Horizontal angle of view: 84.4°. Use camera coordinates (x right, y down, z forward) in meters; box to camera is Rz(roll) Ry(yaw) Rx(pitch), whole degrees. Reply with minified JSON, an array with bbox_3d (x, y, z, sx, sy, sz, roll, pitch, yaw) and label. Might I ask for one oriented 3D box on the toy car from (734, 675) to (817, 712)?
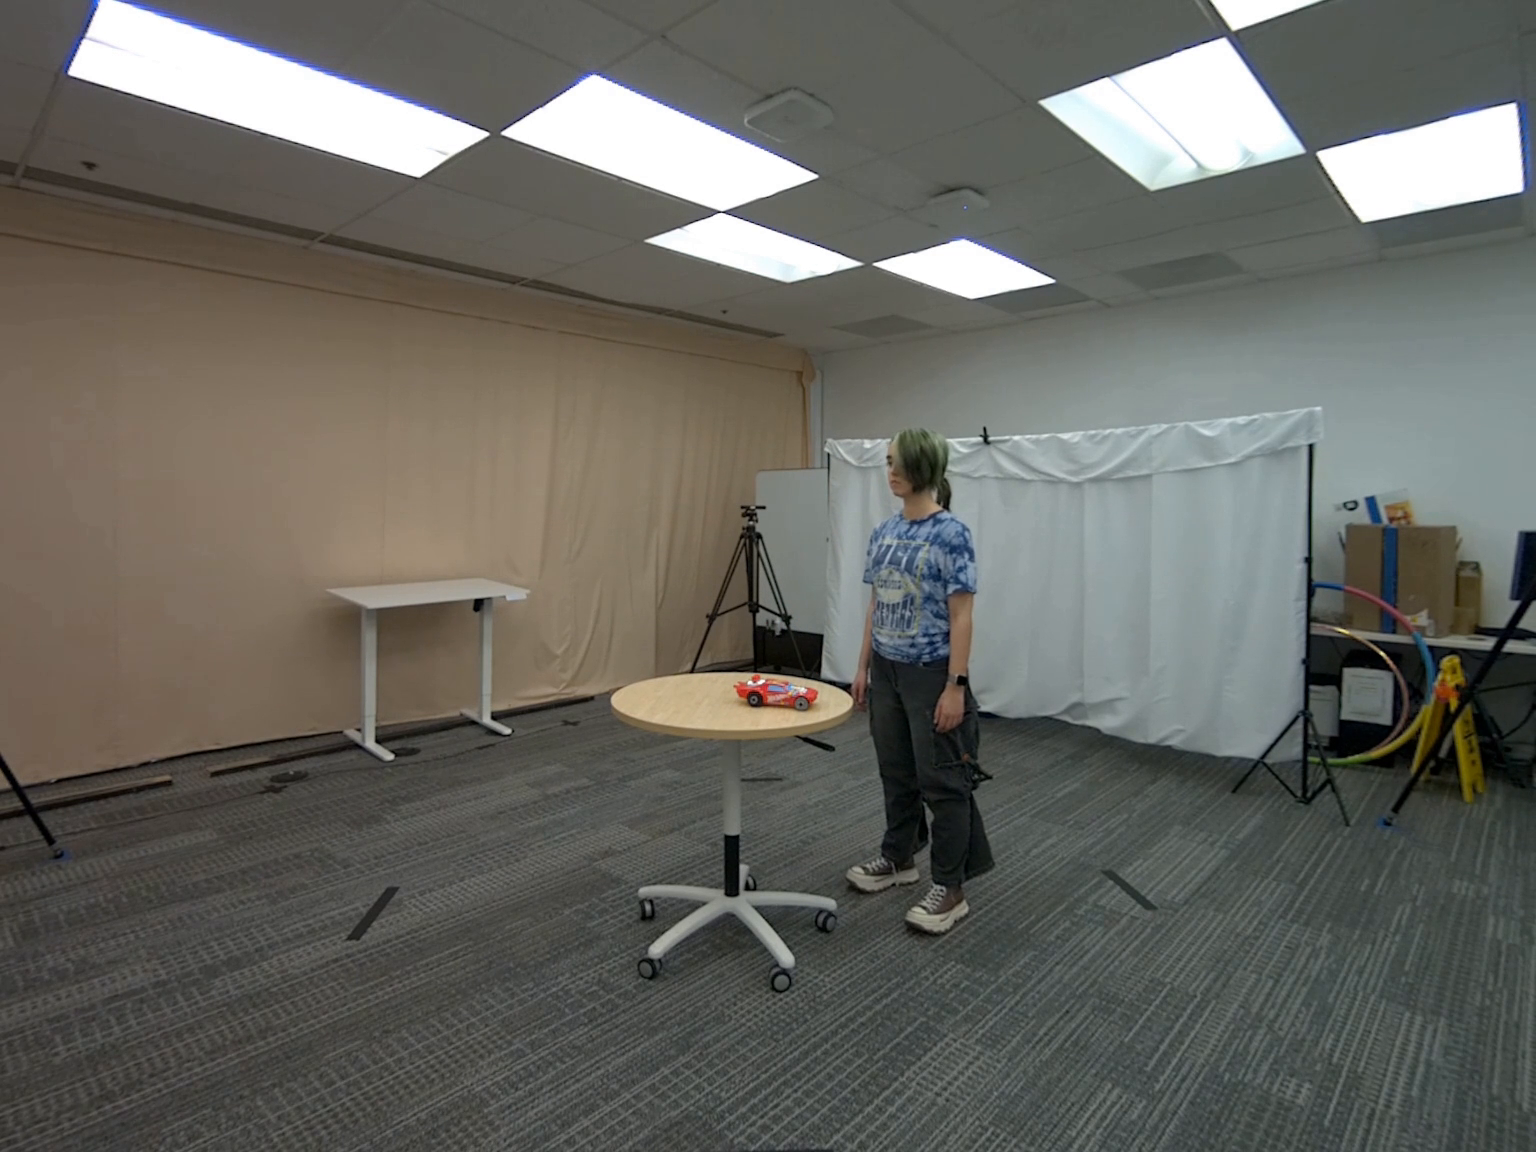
[{"bbox_3d":[0.025,0.365,2.580,0.259,0.083,0.128,13,8,15],"label":"toy car"}]
